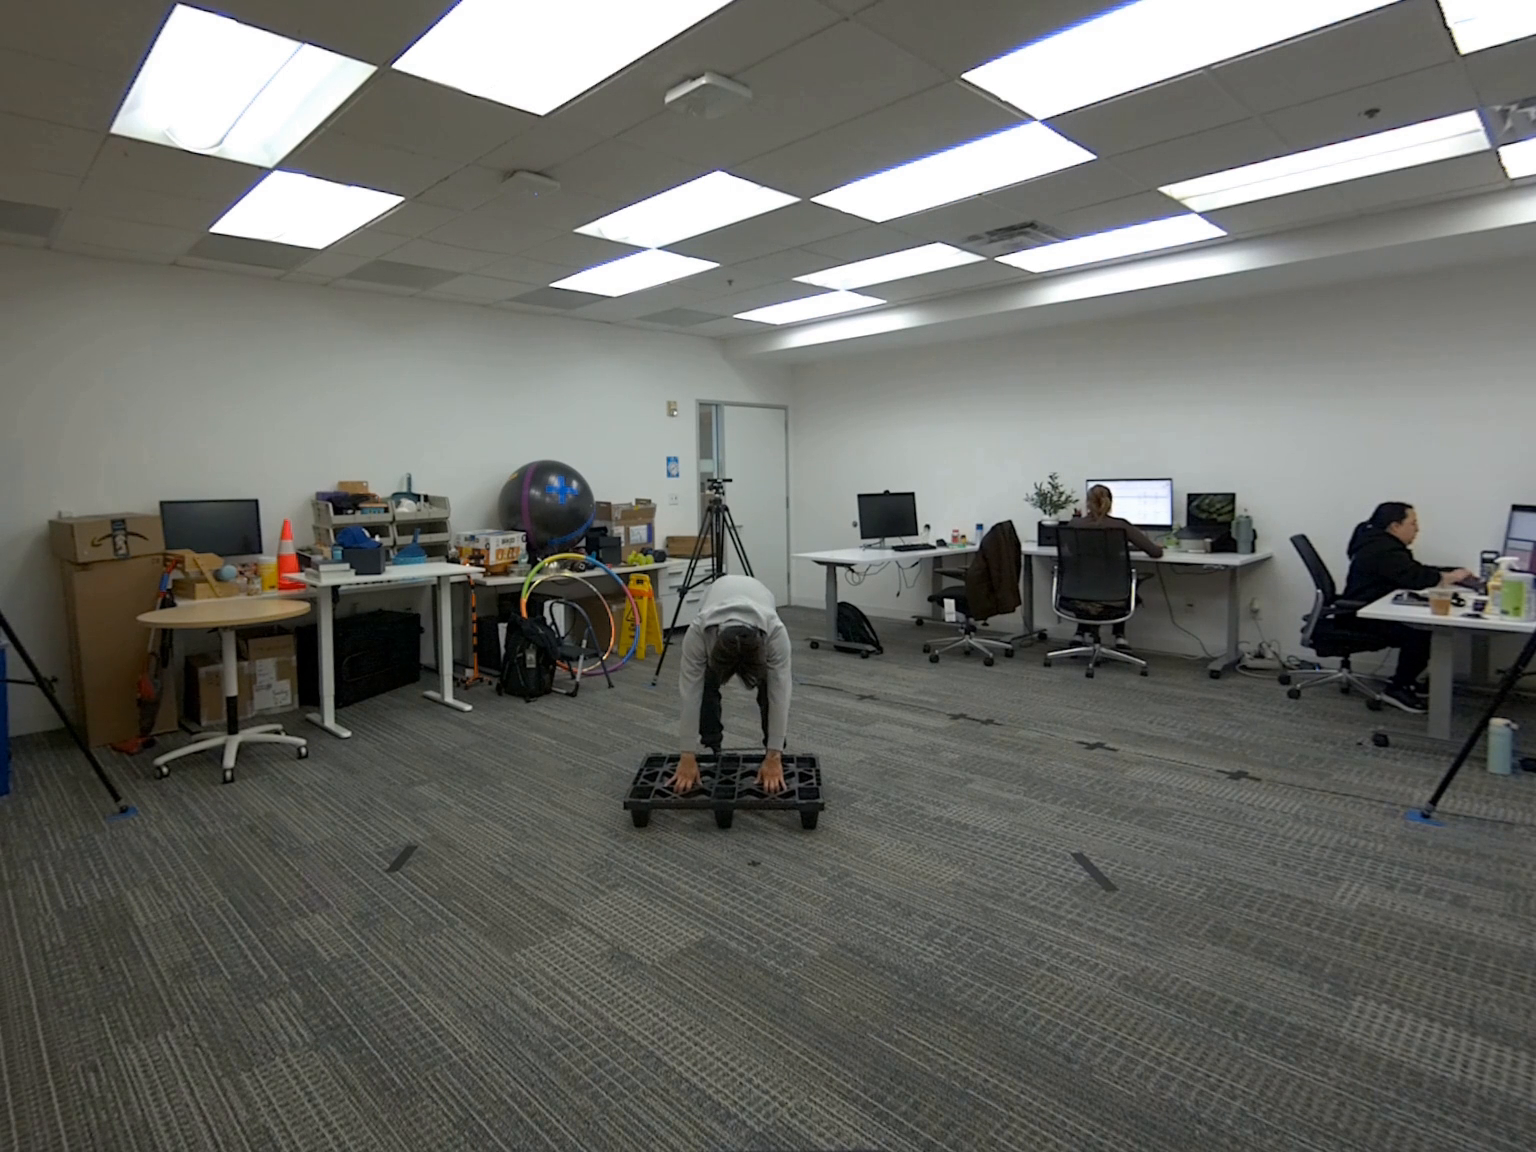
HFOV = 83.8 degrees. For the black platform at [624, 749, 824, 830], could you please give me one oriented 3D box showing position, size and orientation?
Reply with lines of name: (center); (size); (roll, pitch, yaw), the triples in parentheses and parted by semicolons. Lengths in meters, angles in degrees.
black platform: (-0.174, 0.916, 3.658); (0.809, 0.143, 0.605); (-1, 5, 3)
